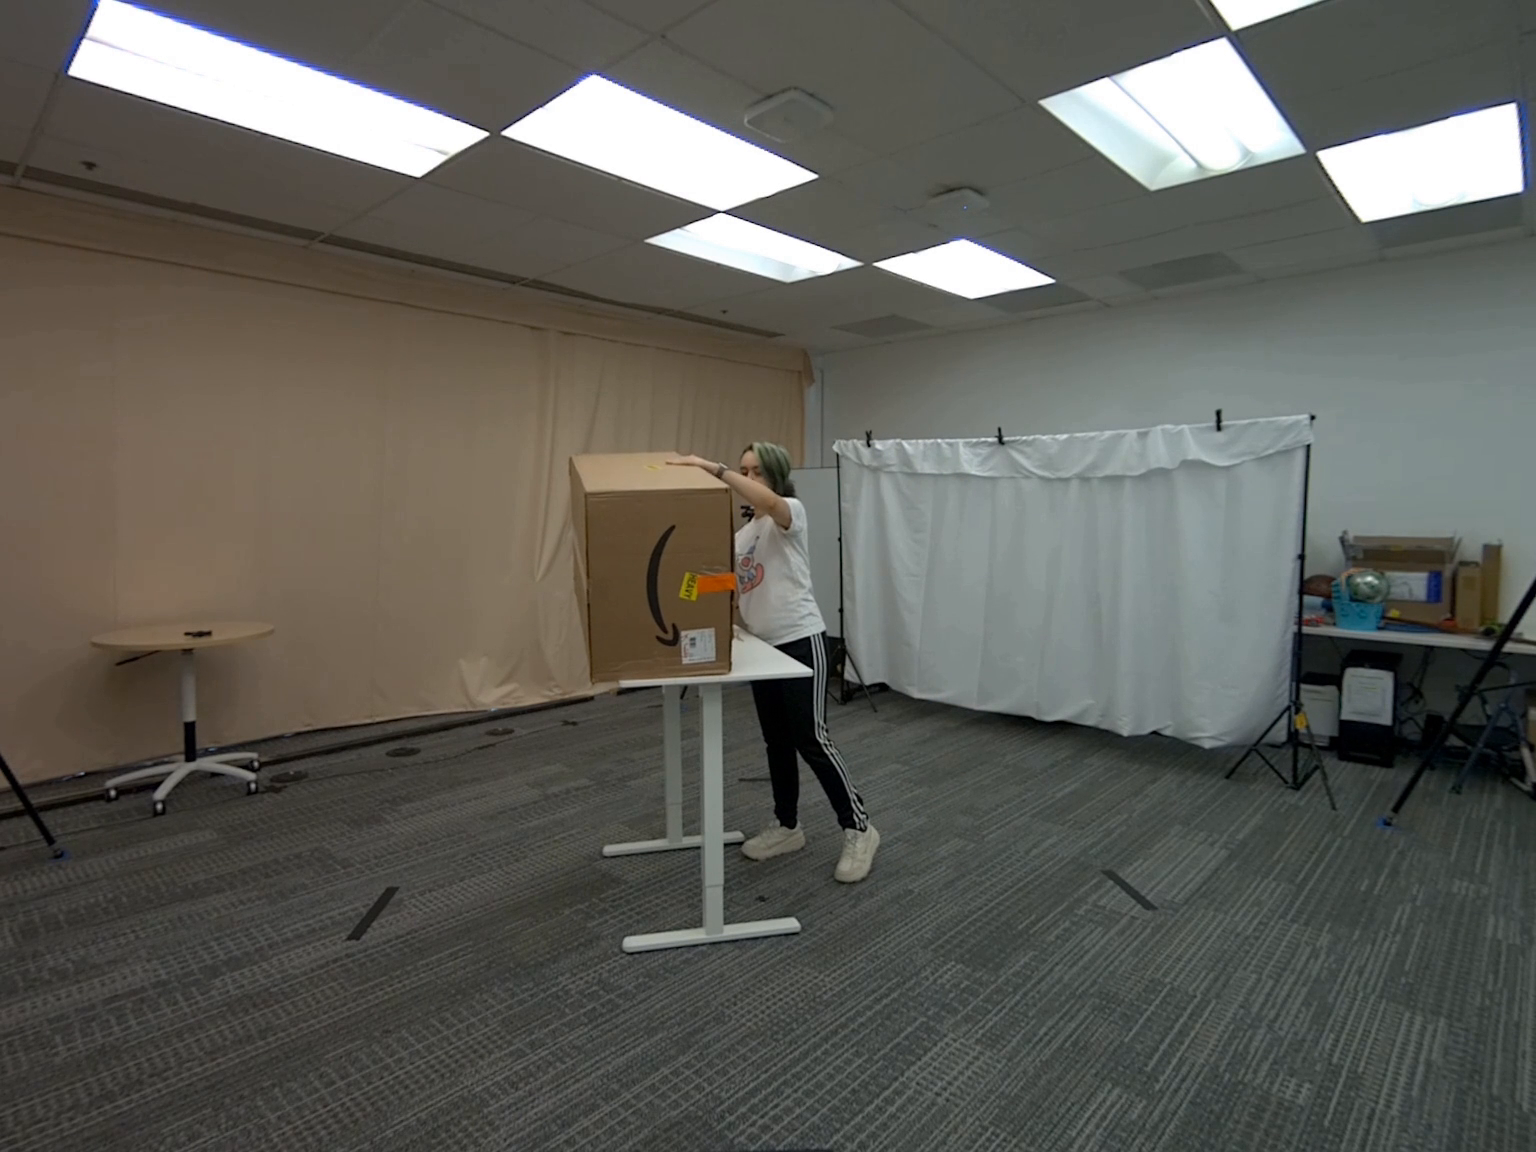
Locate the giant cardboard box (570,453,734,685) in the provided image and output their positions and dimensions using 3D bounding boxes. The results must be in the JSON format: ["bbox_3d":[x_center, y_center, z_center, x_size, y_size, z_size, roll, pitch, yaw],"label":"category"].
[{"bbox_3d":[-0.425,-0.082,2.947,0.442,0.579,1.046,-4,13,-11],"label":"giant cardboard box"}]
